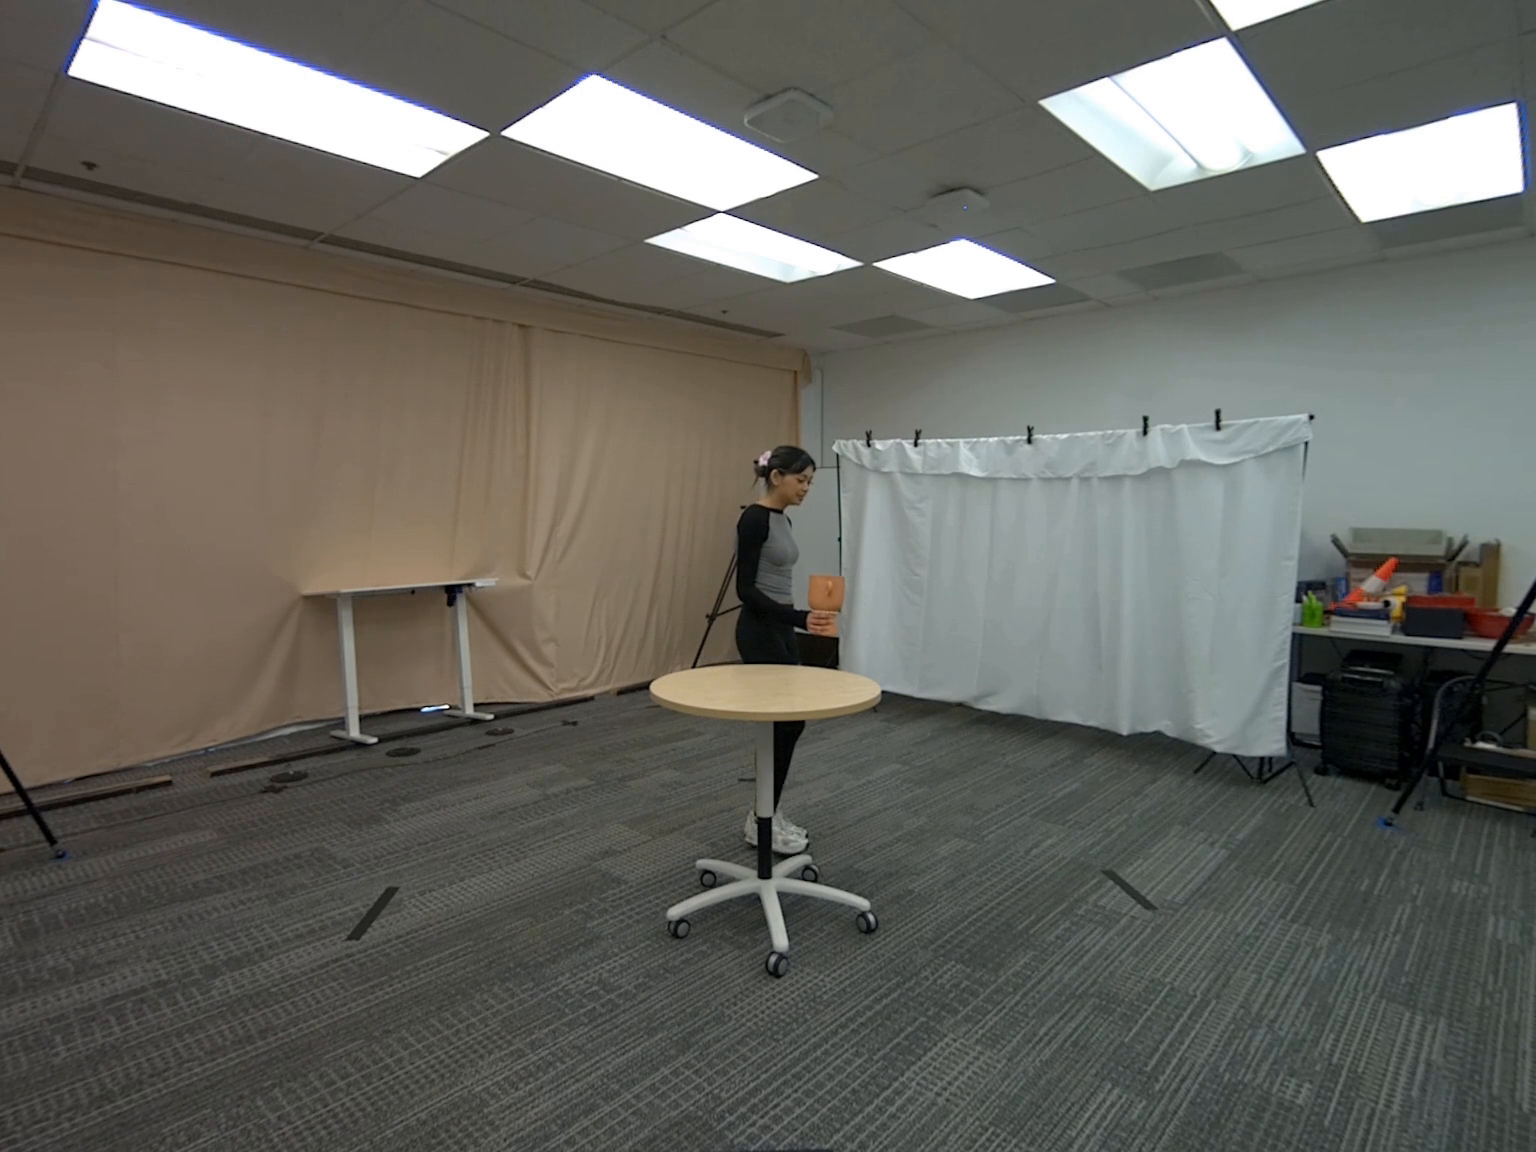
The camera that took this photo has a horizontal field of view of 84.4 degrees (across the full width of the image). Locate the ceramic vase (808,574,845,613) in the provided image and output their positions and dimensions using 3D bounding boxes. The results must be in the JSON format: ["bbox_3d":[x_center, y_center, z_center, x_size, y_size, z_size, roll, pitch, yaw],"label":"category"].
[{"bbox_3d":[0.218,0.111,3.153,0.139,0.220,0.153,1,-5,37],"label":"ceramic vase"}]
